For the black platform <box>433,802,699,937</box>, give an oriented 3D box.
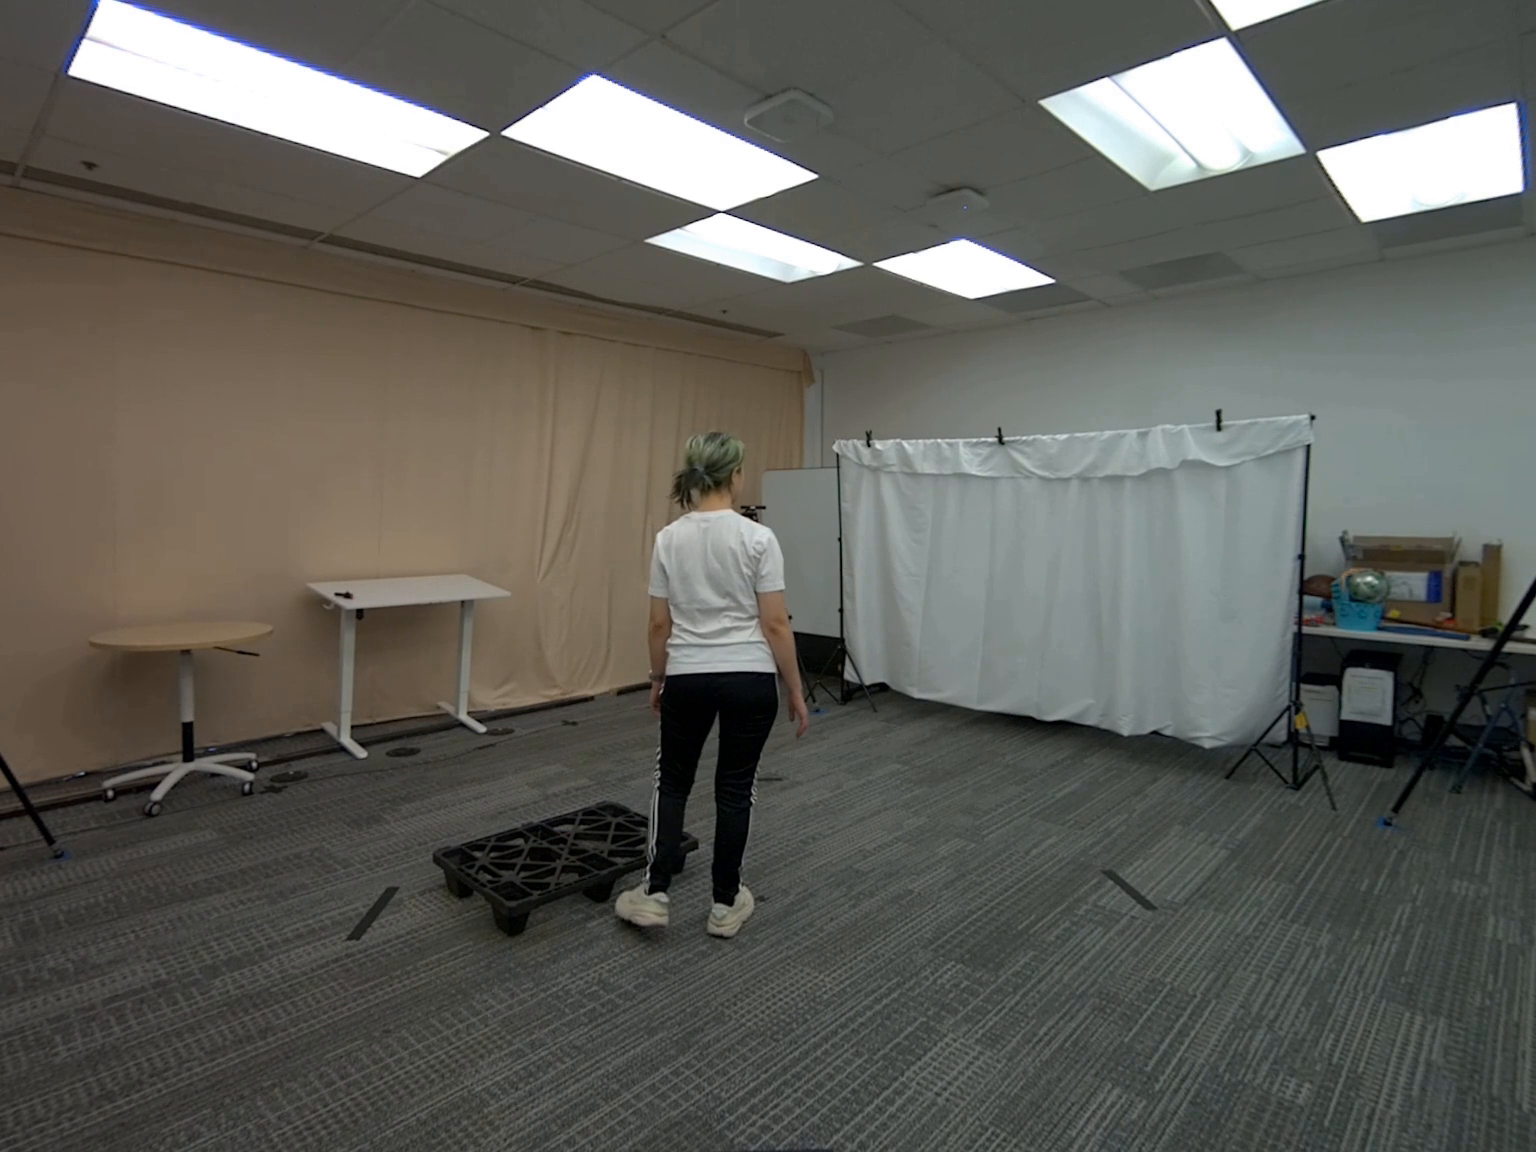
[{"bbox_3d":[-0.739,1.074,3.141,0.781,0.143,0.625,-5,7,-44],"label":"black platform"}]
